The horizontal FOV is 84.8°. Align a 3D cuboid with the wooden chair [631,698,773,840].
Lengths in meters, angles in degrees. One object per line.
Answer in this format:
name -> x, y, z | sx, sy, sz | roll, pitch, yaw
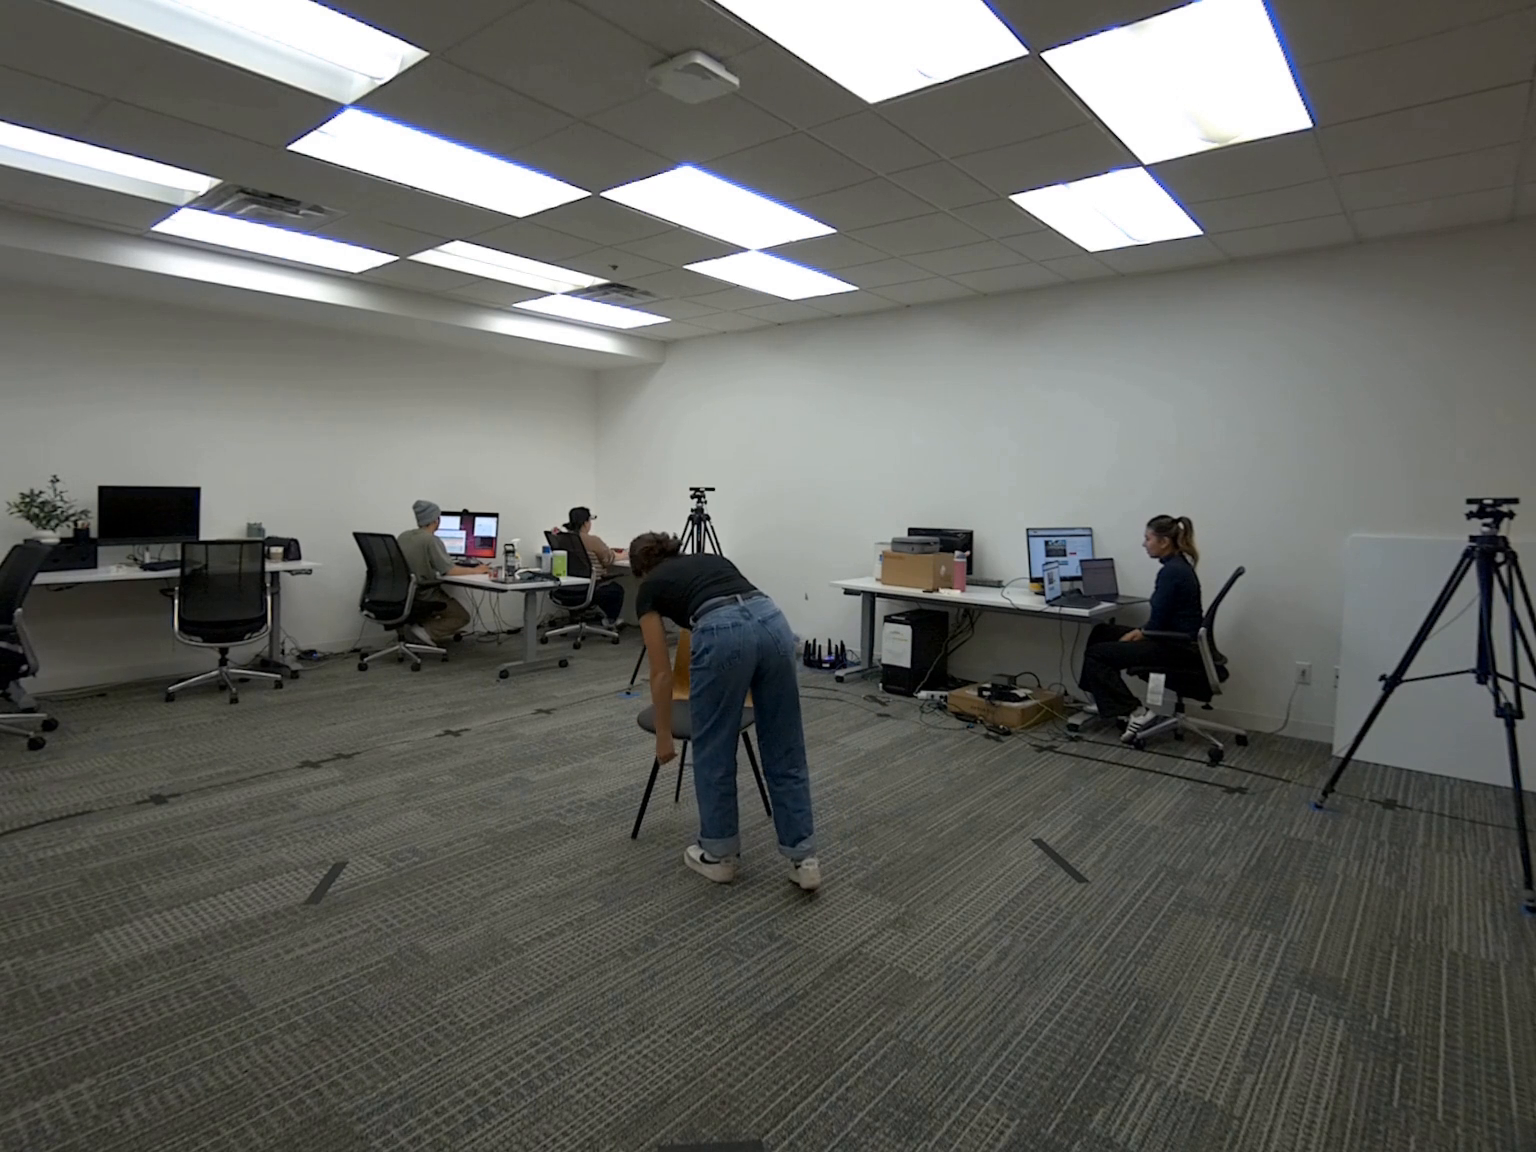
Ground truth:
wooden chair -> -0.264, 0.599, 3.457 | 0.488, 0.878, 0.512 | 2, -1, 19
